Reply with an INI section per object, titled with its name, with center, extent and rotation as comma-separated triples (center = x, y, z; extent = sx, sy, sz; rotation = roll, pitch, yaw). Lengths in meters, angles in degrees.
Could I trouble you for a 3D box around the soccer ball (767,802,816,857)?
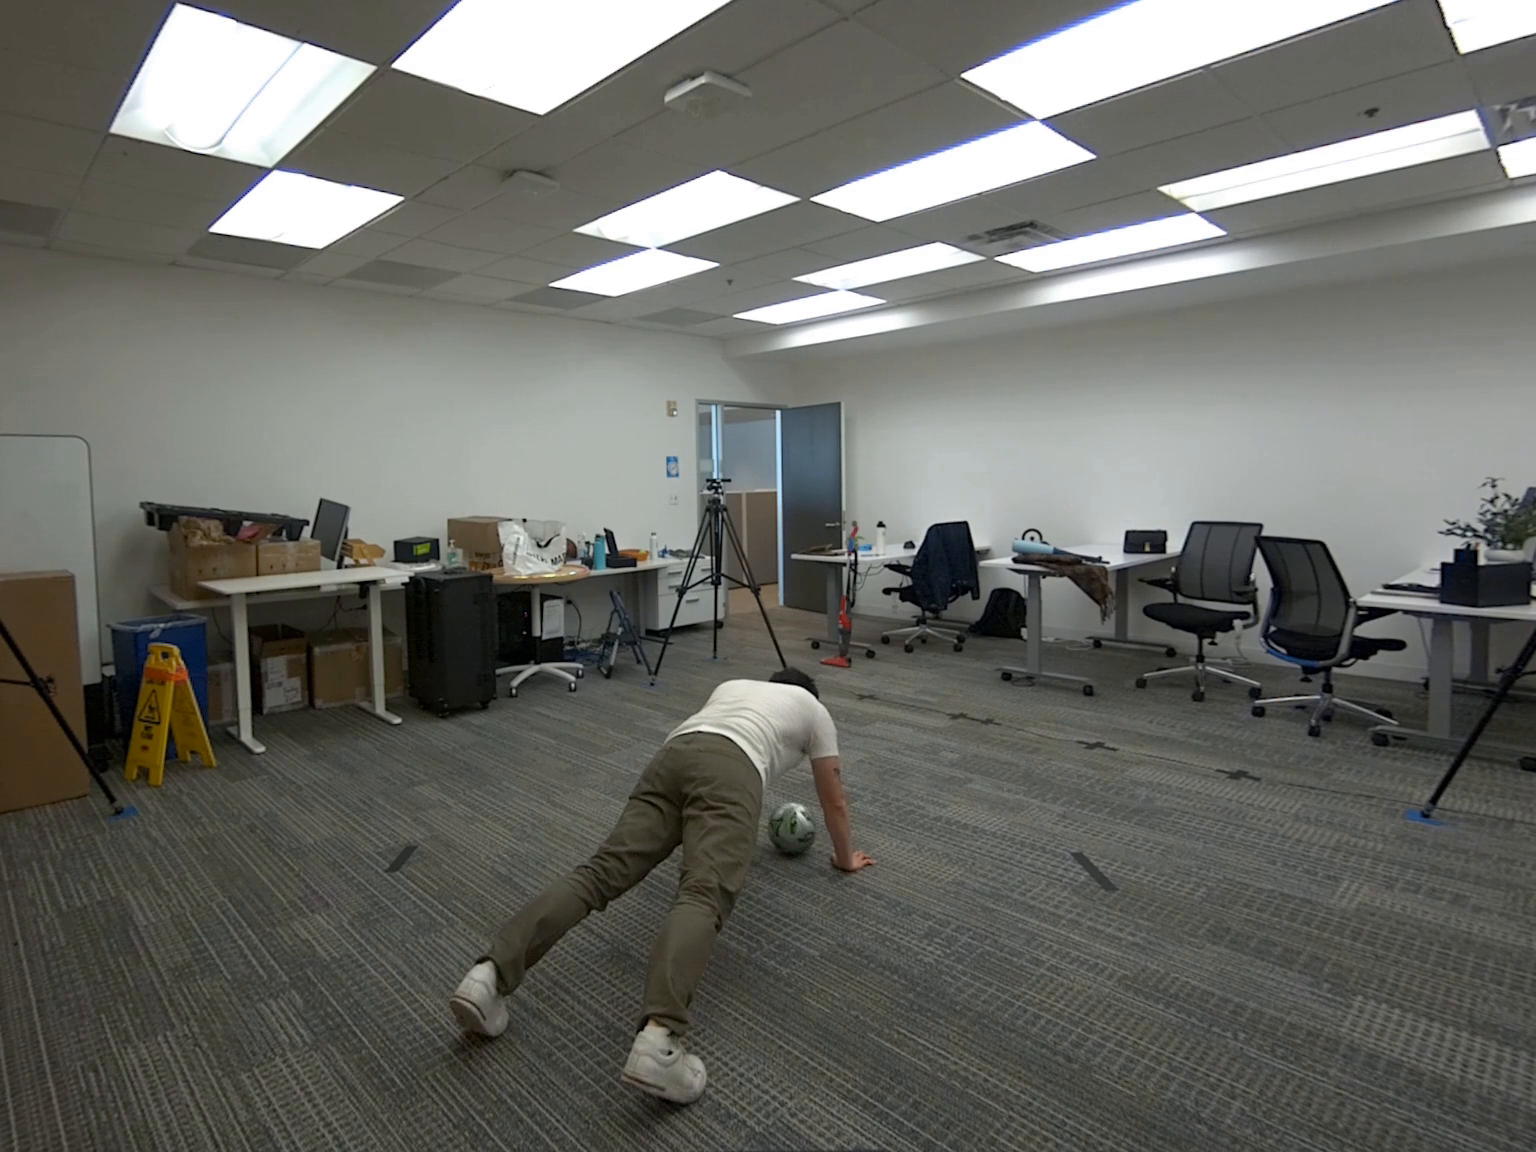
[soccer ball]
center = 0.091, 0.936, 3.190
extent = 0.187, 0.187, 0.188
rotation = -1, 5, -2
